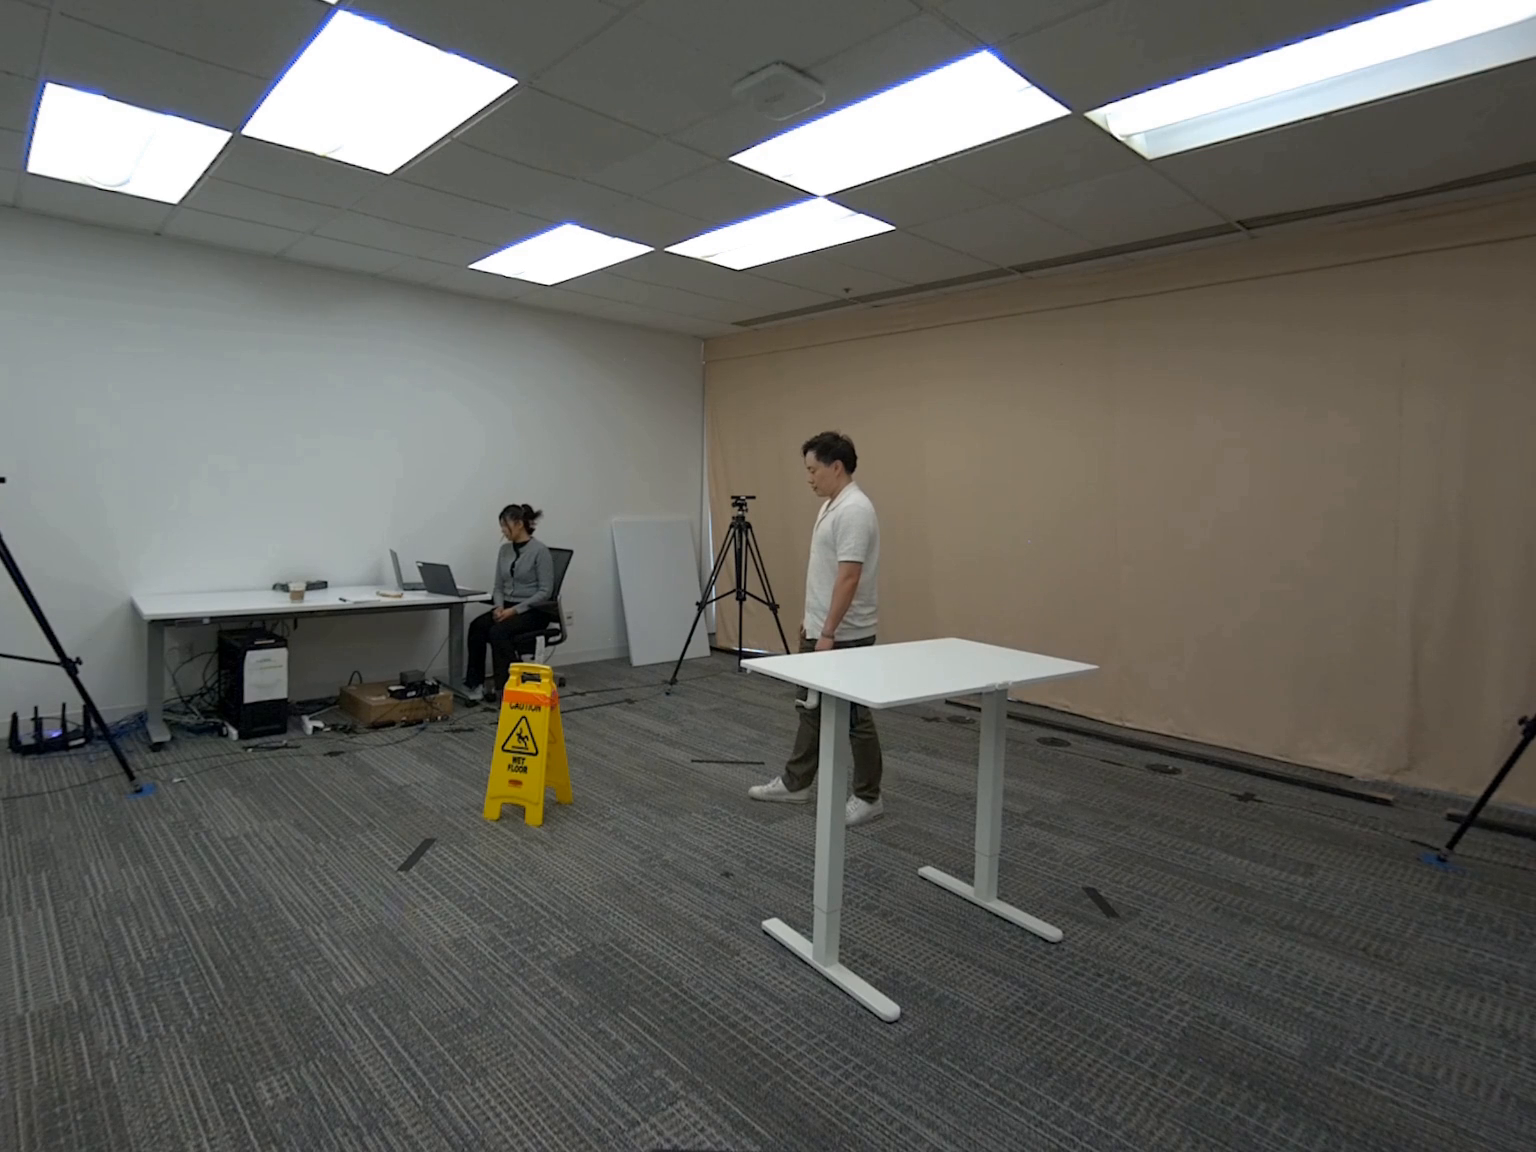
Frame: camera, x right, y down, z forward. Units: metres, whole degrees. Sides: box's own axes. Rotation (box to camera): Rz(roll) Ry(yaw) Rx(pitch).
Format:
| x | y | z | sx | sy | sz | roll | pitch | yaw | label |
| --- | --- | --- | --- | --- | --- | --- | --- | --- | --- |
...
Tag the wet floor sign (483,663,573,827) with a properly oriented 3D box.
| x | y | z | sx | sy | sz | roll | pitch | yaw | label |
| --- | --- | --- | --- | --- | --- | --- | --- | --- | --- |
| -1.057 | 0.701 | 3.685 | 0.286 | 0.644 | 0.287 | 5 | 4 | 14 | wet floor sign |
